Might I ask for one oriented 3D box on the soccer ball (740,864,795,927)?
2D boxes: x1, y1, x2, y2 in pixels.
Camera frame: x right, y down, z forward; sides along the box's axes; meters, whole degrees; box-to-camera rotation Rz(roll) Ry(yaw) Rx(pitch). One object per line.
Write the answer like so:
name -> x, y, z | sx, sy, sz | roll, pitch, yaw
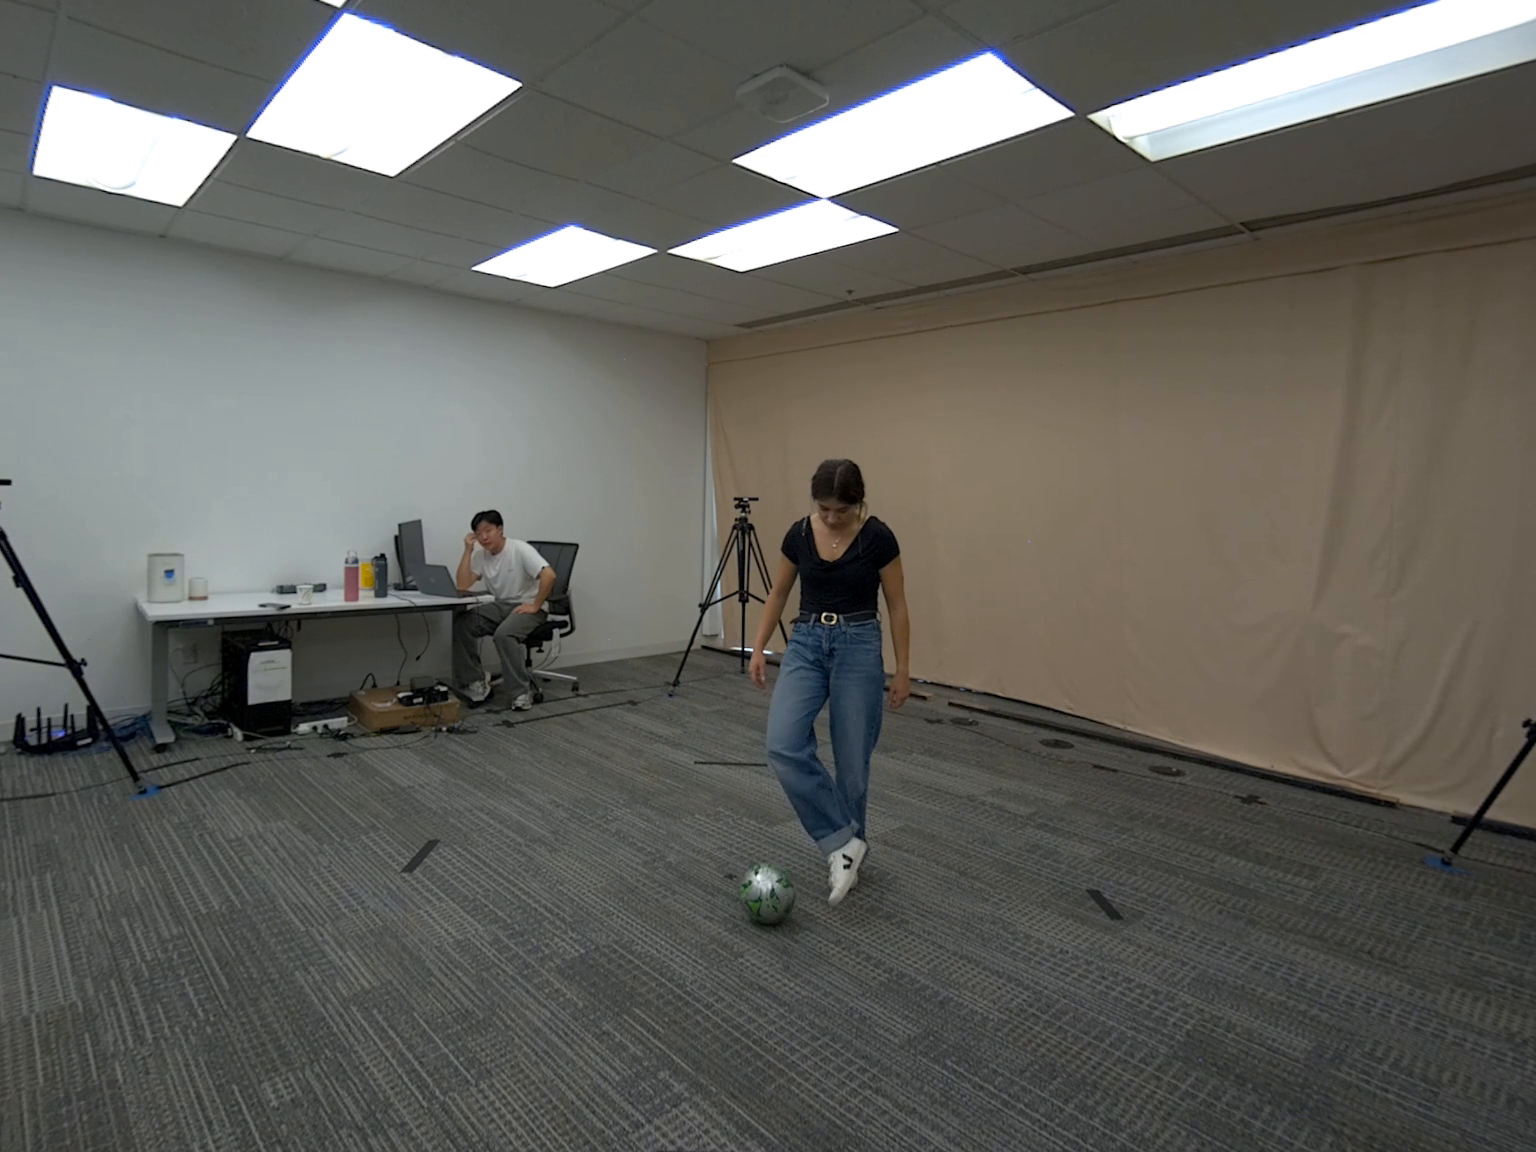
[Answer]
soccer ball -> -0.009, 1.048, 2.775 | 0.187, 0.187, 0.188 | 1, 4, -1
